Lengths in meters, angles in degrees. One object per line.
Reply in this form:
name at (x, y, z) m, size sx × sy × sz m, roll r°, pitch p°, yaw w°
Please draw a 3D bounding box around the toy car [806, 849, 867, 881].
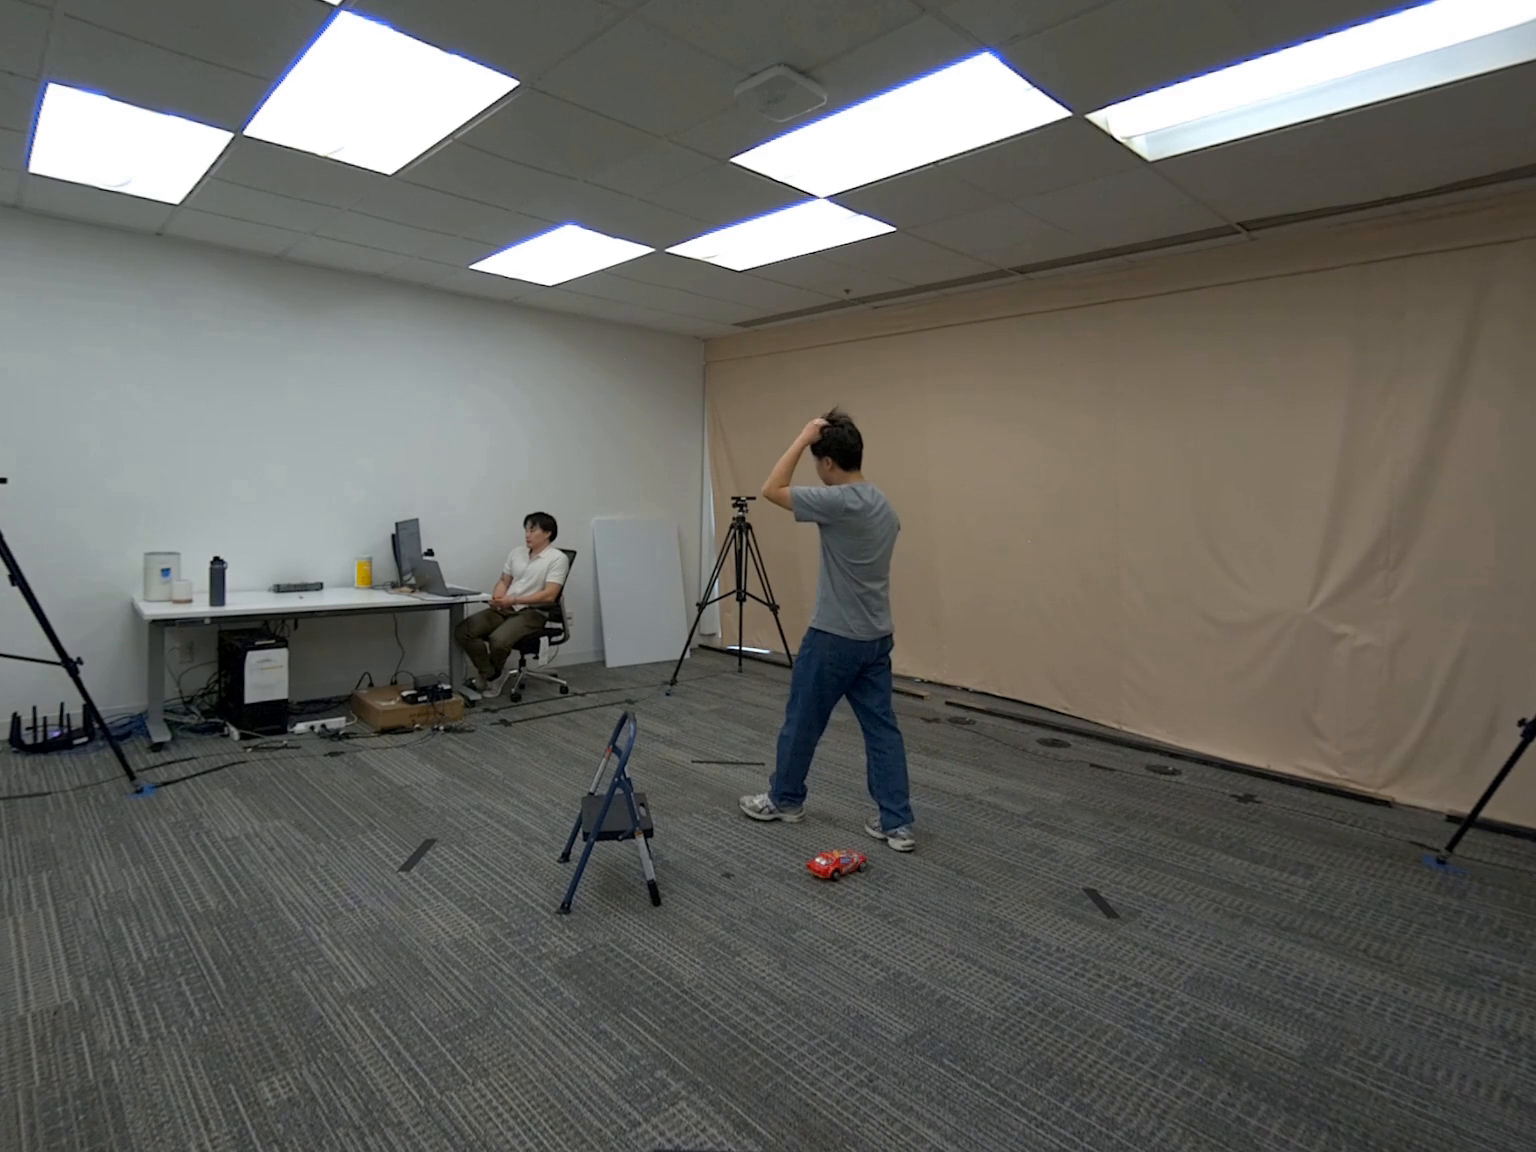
toy car at (0.247, 1.079, 3.143) m, size 0.248 × 0.083 × 0.133 m, roll 11°, pitch -3°, yaw -38°
